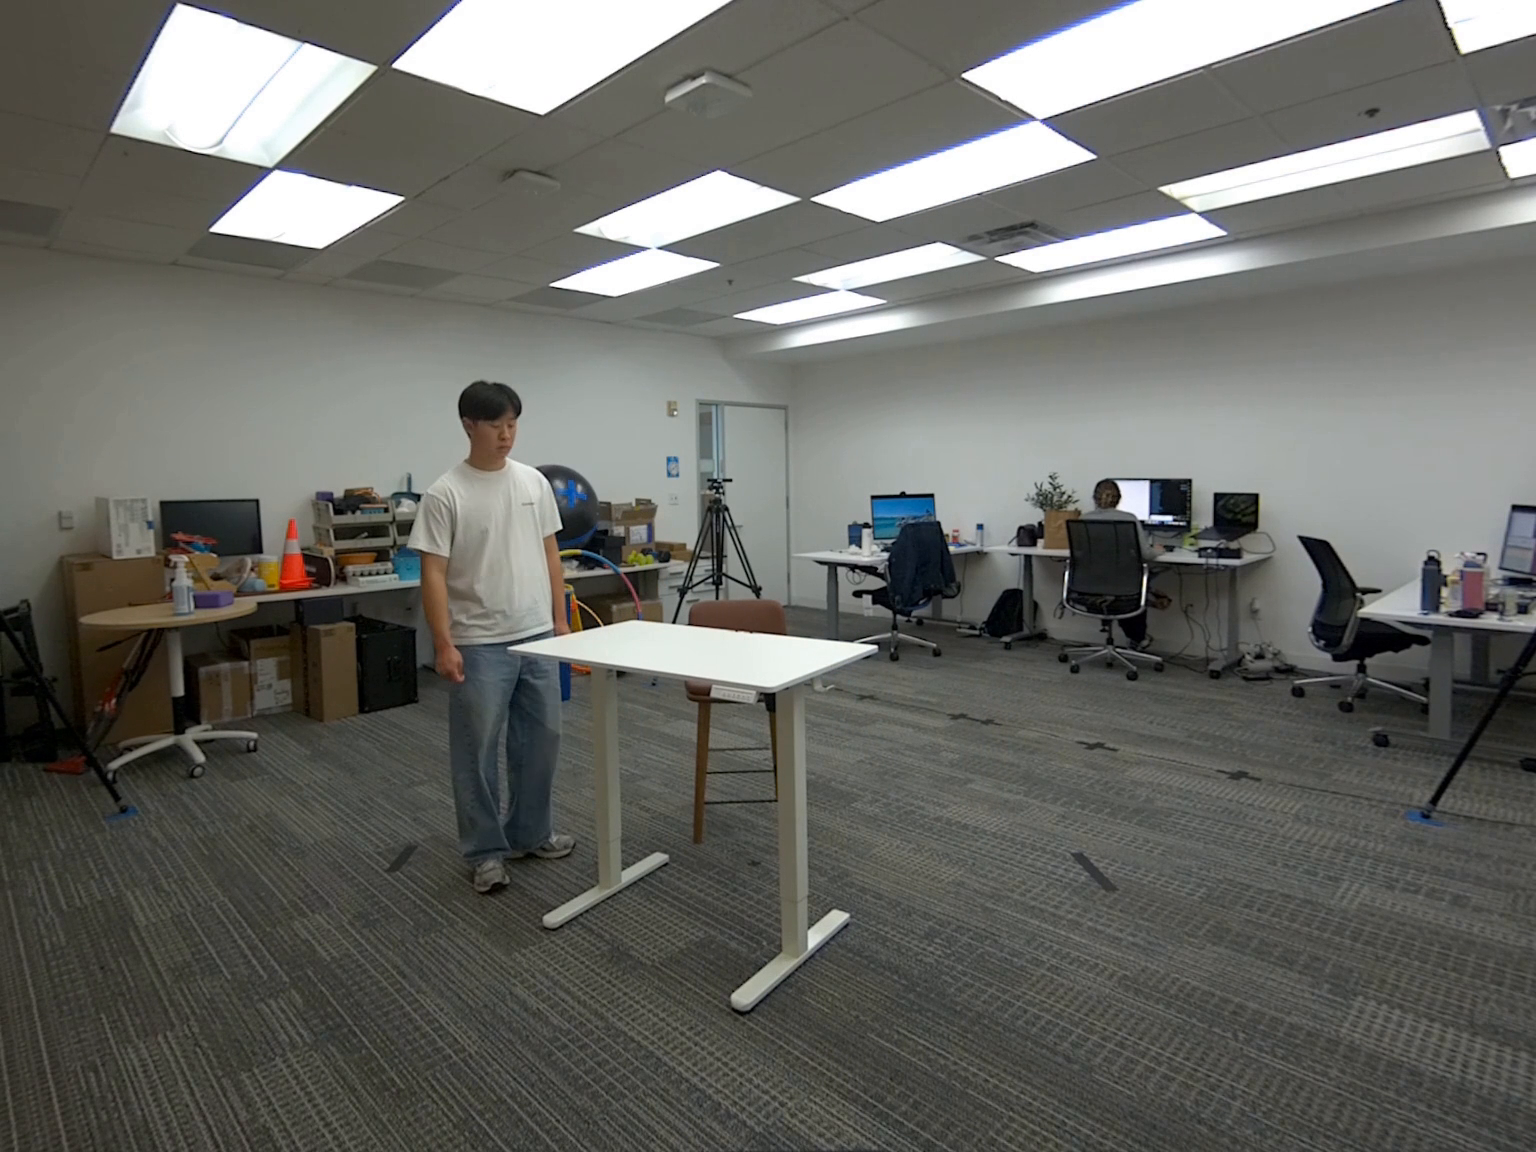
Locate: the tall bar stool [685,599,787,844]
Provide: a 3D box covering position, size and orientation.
[{"bbox_3d":[-0.102,0.568,3.493,0.455,0.888,0.470,-1,2,-5],"label":"tall bar stool"}]
